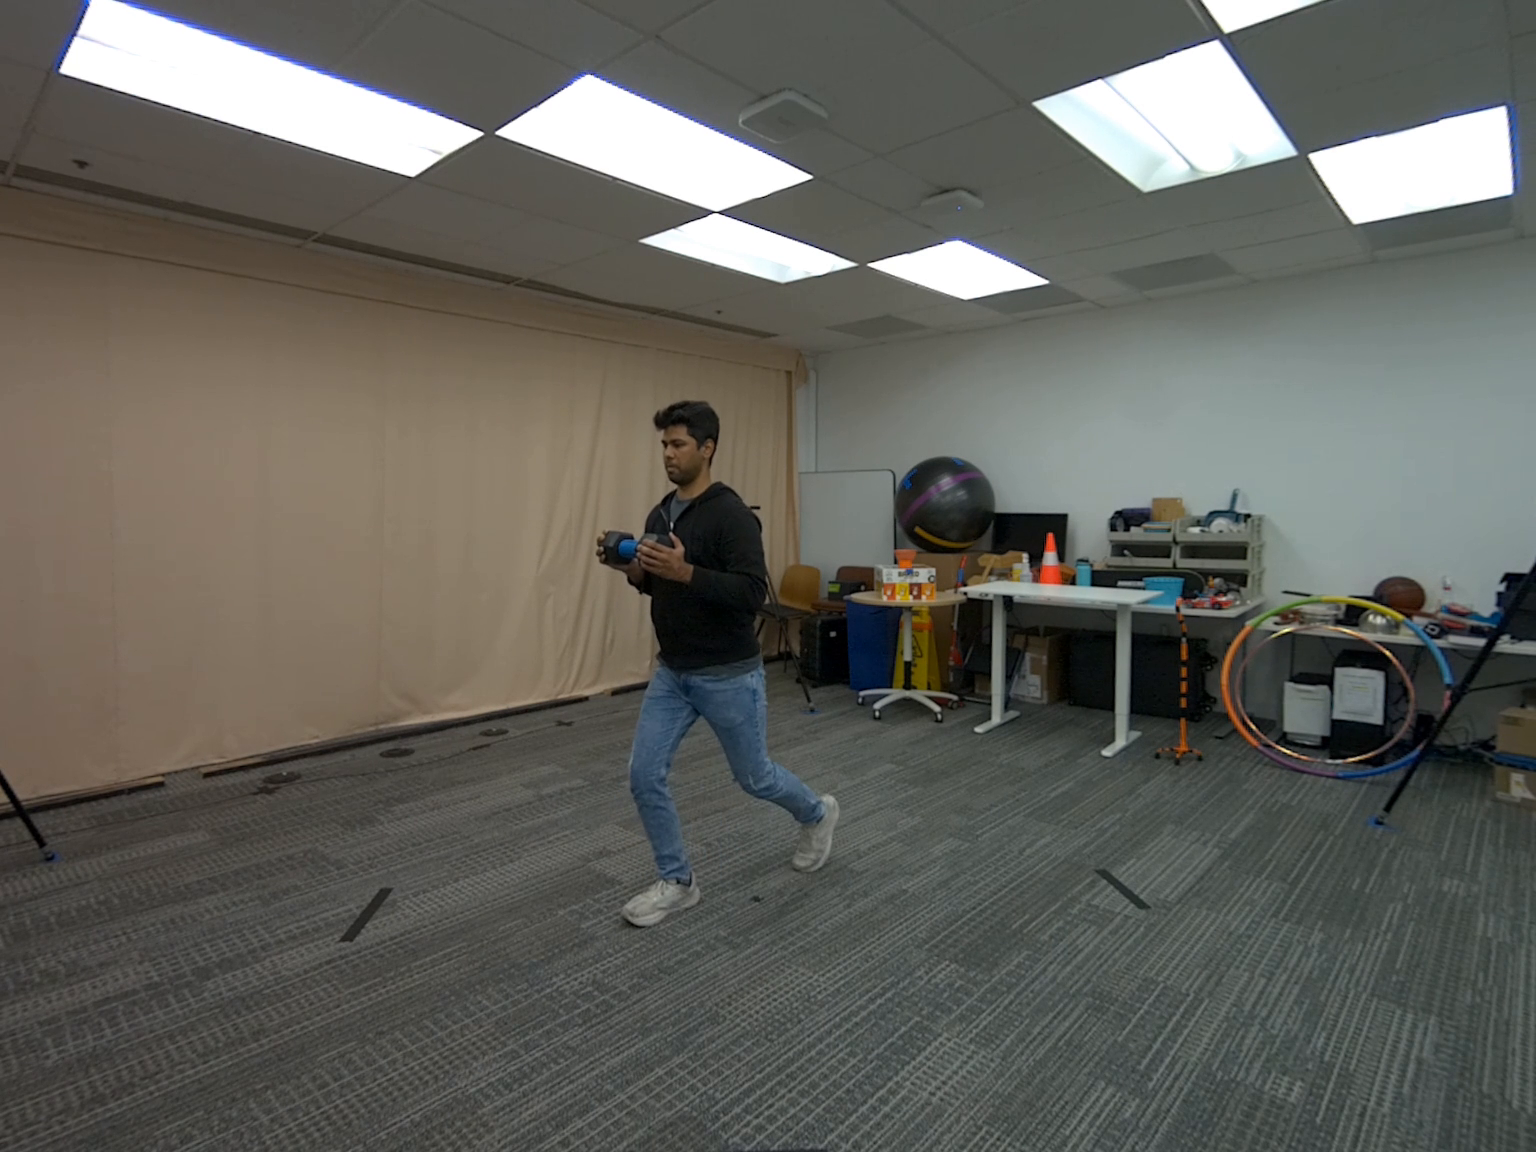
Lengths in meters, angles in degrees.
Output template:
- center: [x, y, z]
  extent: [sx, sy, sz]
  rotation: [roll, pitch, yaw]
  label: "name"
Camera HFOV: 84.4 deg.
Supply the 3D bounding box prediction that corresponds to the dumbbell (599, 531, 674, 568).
- center: [-0.417, -0.072, 2.757]
  extent: [0.107, 0.121, 0.303]
  rotation: [-28, 23, -35]
  label: "dumbbell"
